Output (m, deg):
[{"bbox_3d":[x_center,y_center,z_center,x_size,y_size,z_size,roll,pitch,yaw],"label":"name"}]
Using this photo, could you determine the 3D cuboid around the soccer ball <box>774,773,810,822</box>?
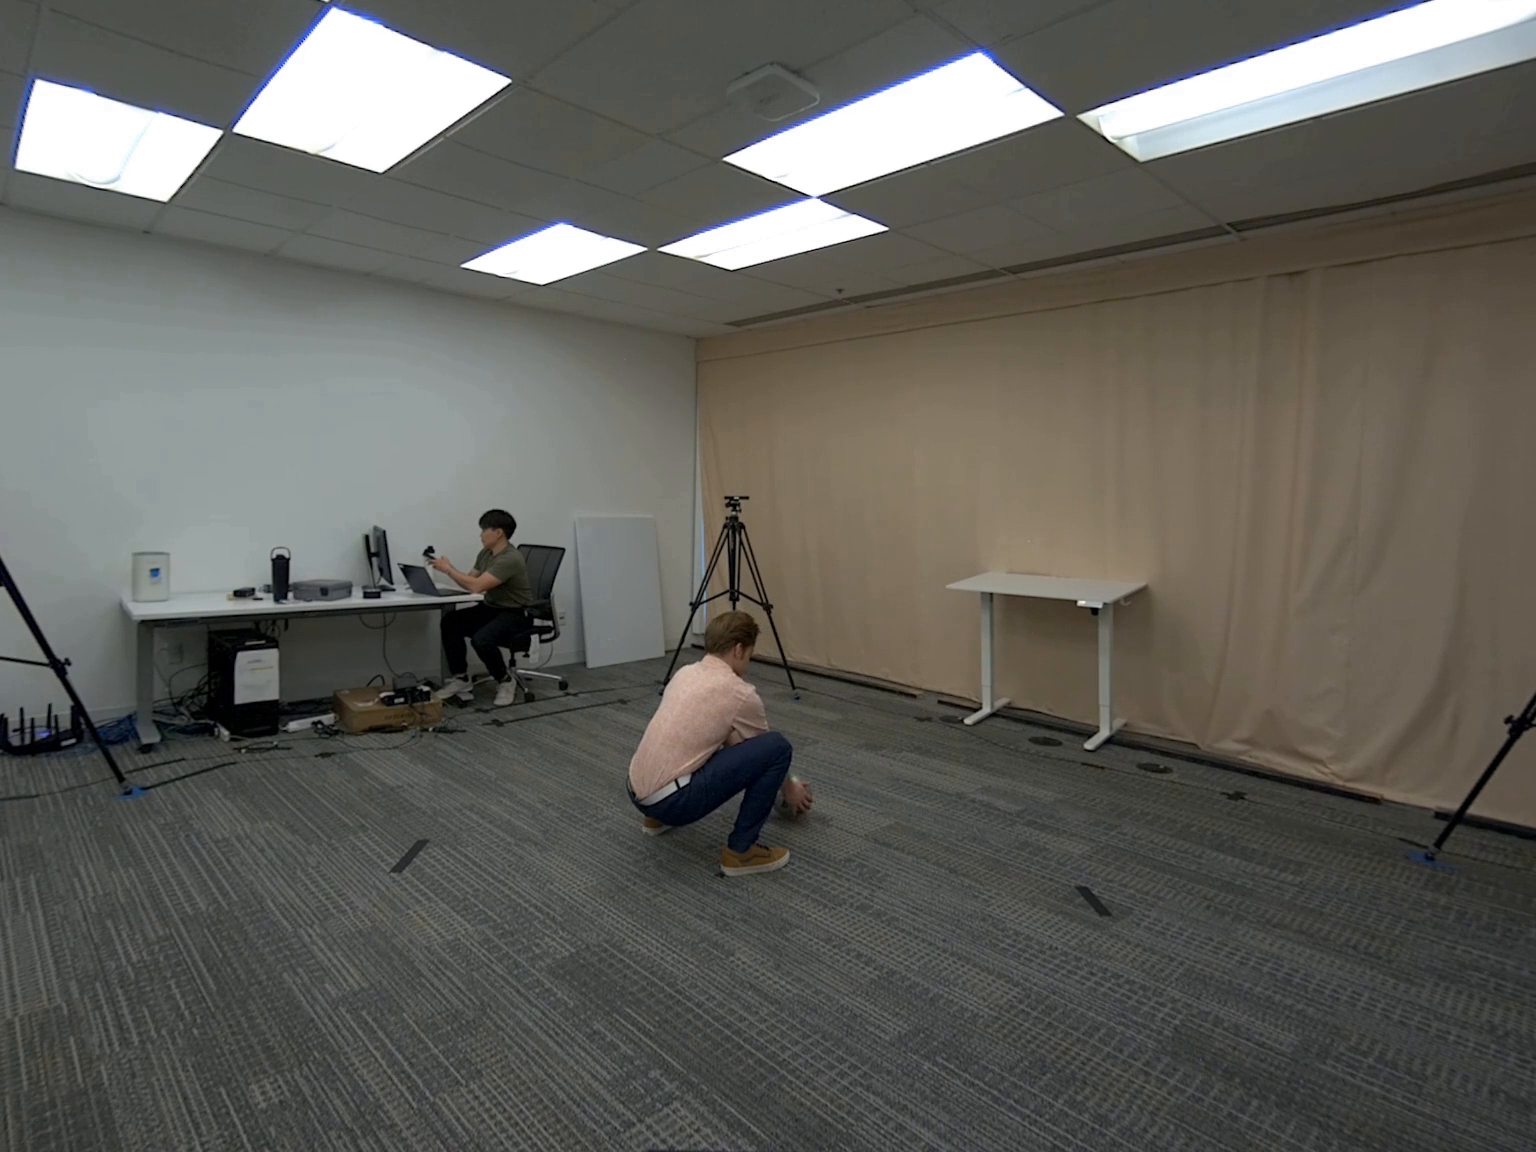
[{"bbox_3d":[0.089,0.956,3.669,0.187,0.187,0.188,1,4,-1],"label":"soccer ball"}]
